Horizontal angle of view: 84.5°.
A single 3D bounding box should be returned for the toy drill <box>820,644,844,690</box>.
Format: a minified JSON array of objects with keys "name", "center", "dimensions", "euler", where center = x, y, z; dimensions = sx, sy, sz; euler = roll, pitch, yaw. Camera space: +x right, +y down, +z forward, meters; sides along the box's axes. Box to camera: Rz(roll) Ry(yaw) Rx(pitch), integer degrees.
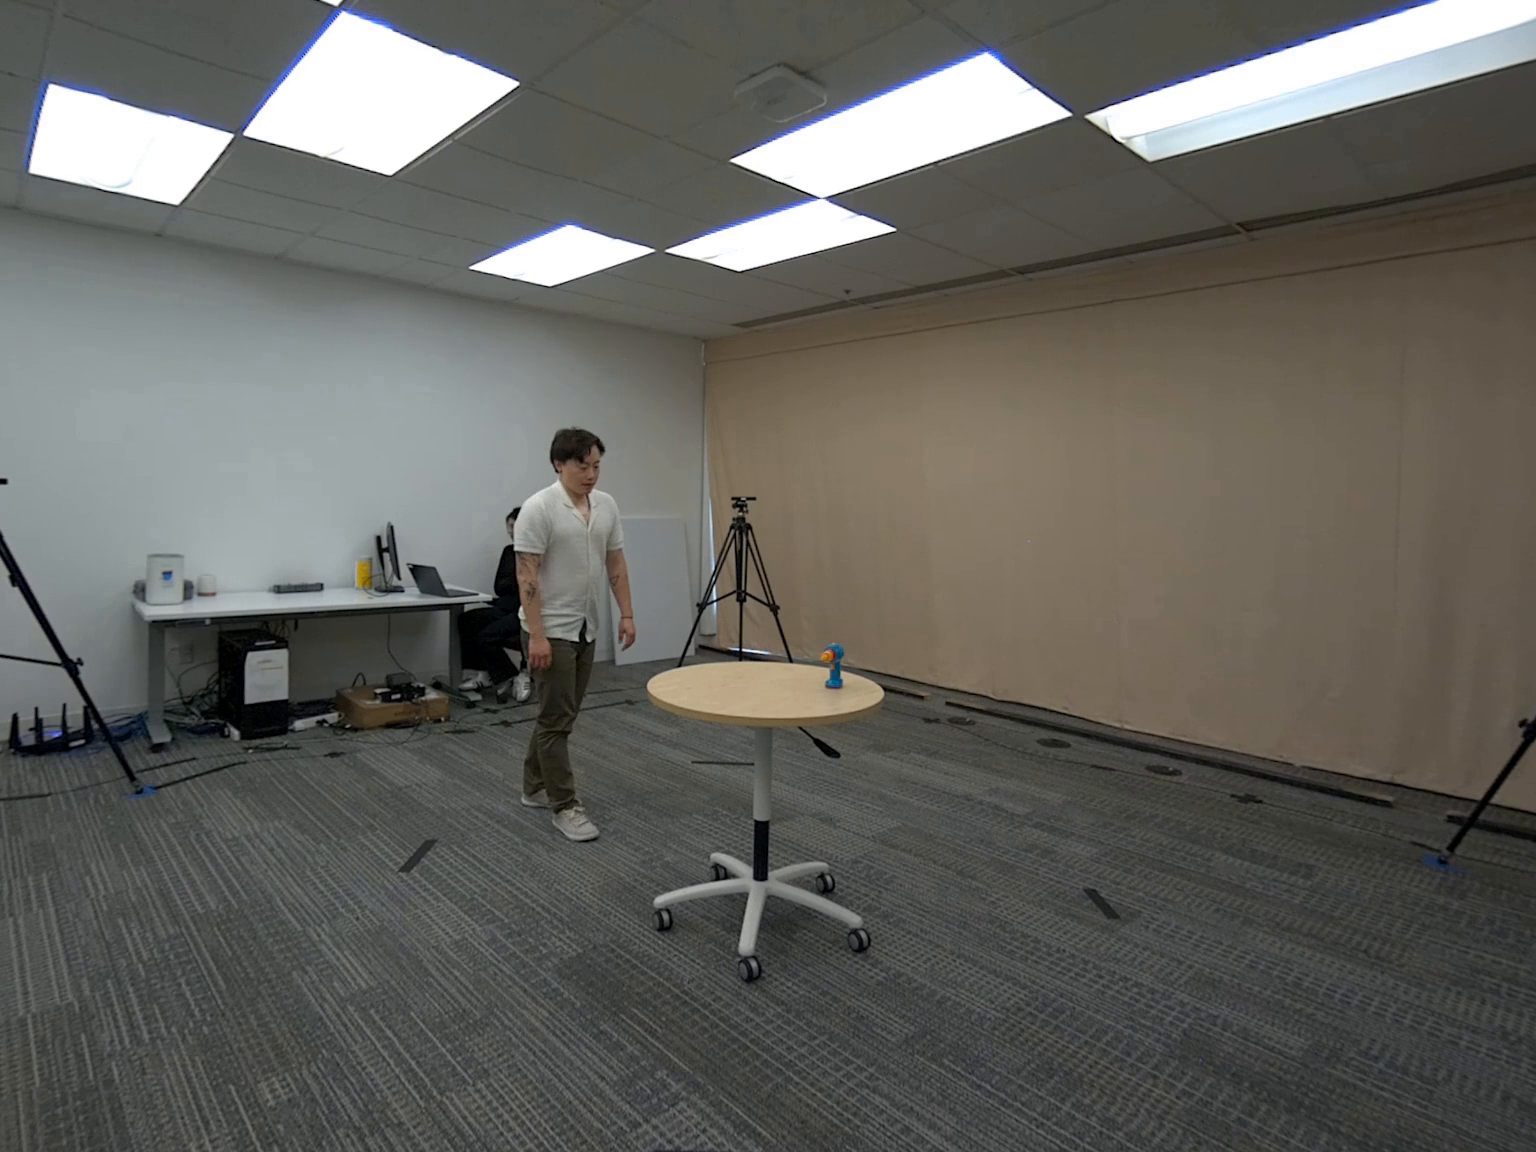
[{"name":"toy drill","center":[0.204,0.295,2.713],"dimensions":[0.062,0.145,0.168],"euler":[0,4,17]}]
